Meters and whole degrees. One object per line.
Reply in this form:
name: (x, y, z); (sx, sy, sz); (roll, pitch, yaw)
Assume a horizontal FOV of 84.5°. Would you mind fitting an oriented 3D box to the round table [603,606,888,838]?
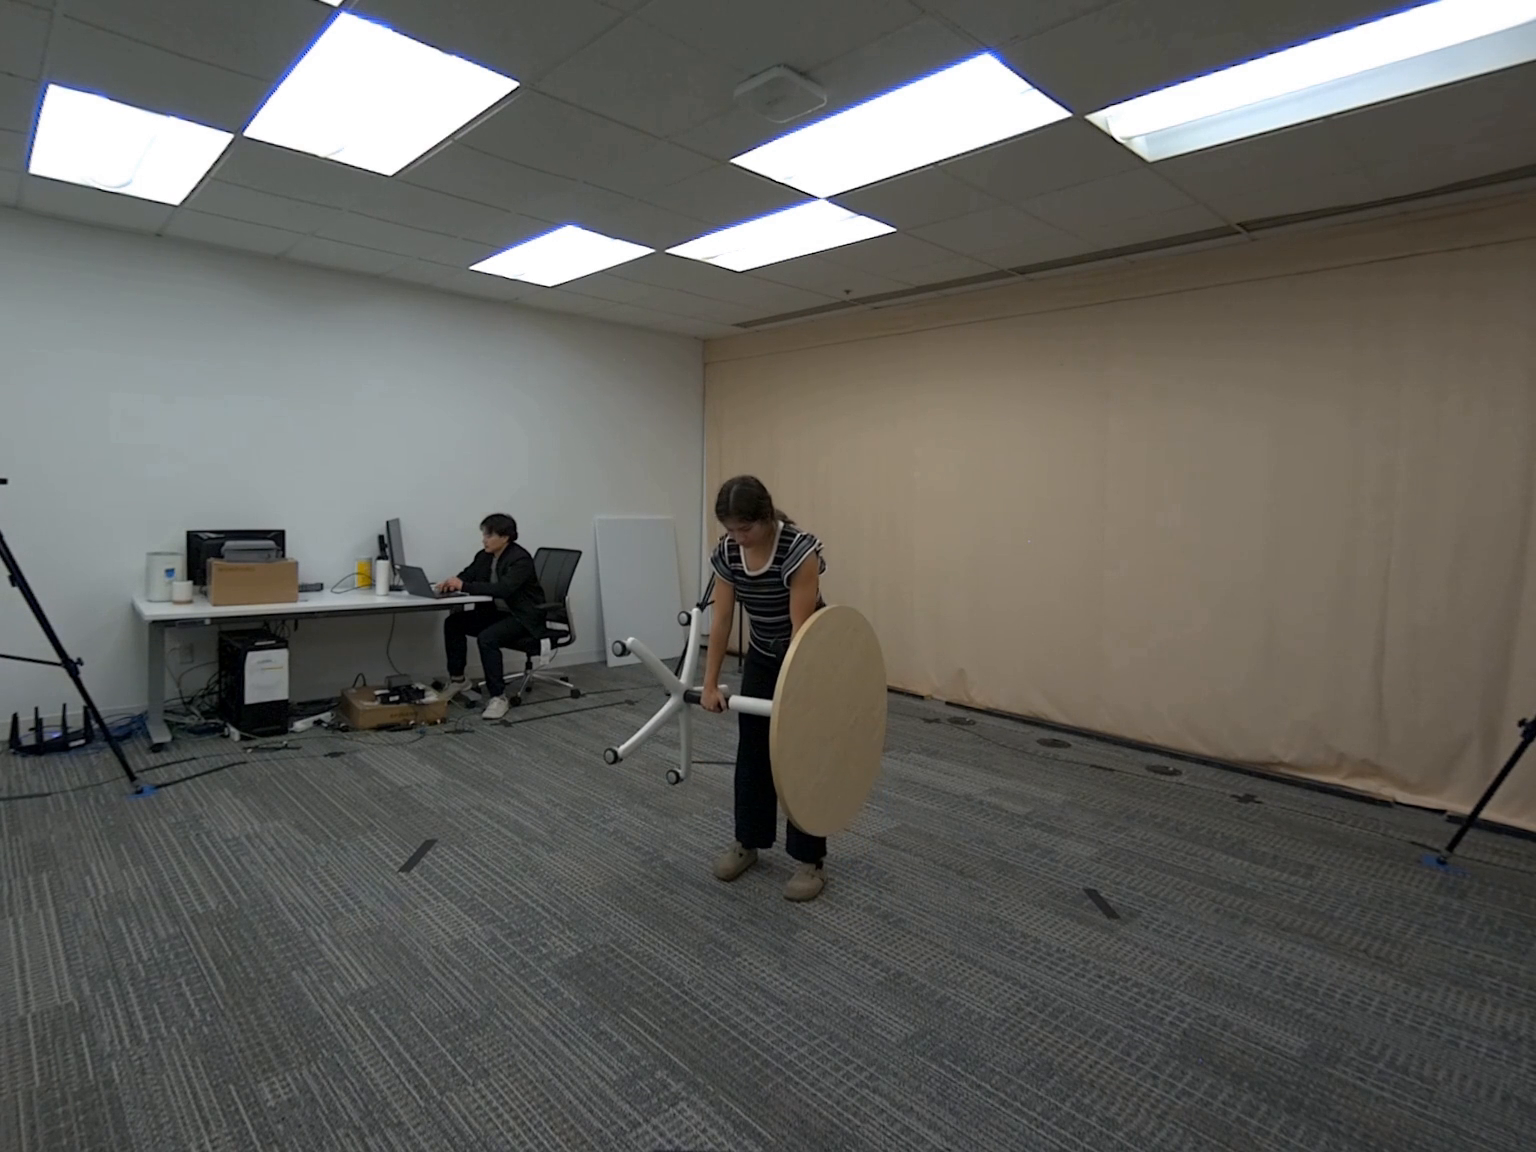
round table: (-0.101, 0.483, 3.075); (0.812, 0.763, 0.748); (1, 3, 35)
